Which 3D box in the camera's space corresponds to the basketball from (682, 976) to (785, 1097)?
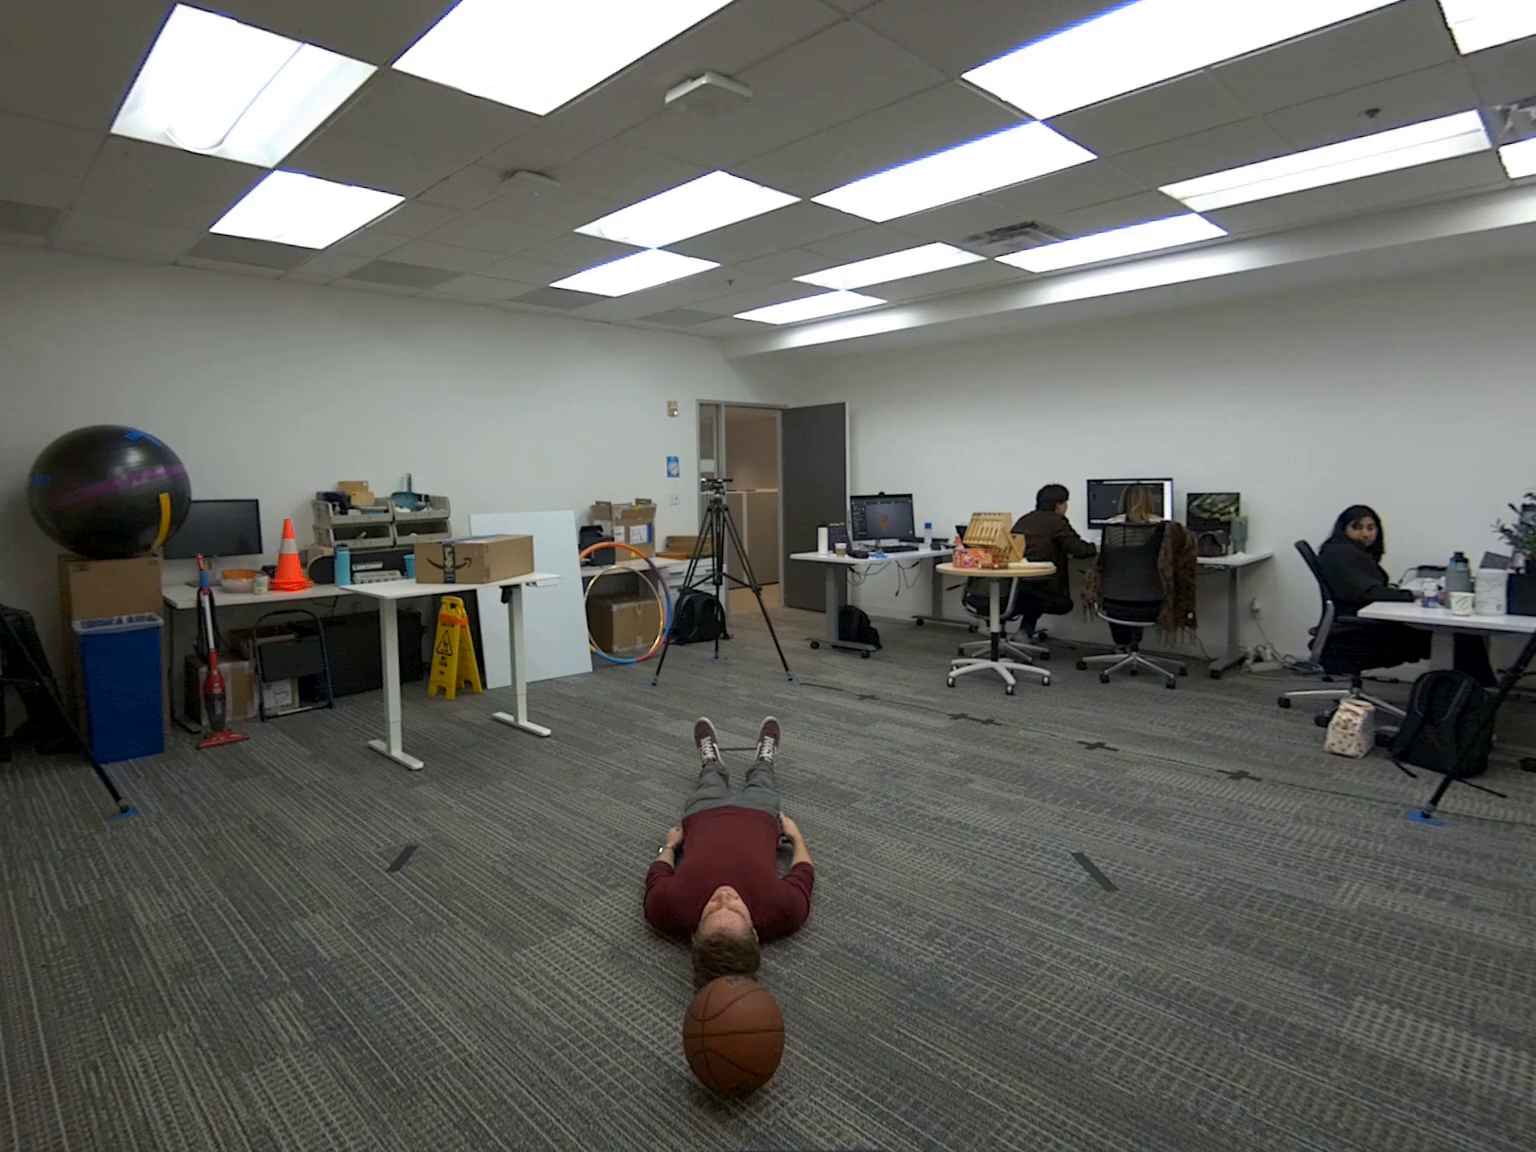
[{"bbox_3d":[-0.069,1.061,1.975,0.236,0.235,0.237,-1,5,-2],"label":"basketball"}]
